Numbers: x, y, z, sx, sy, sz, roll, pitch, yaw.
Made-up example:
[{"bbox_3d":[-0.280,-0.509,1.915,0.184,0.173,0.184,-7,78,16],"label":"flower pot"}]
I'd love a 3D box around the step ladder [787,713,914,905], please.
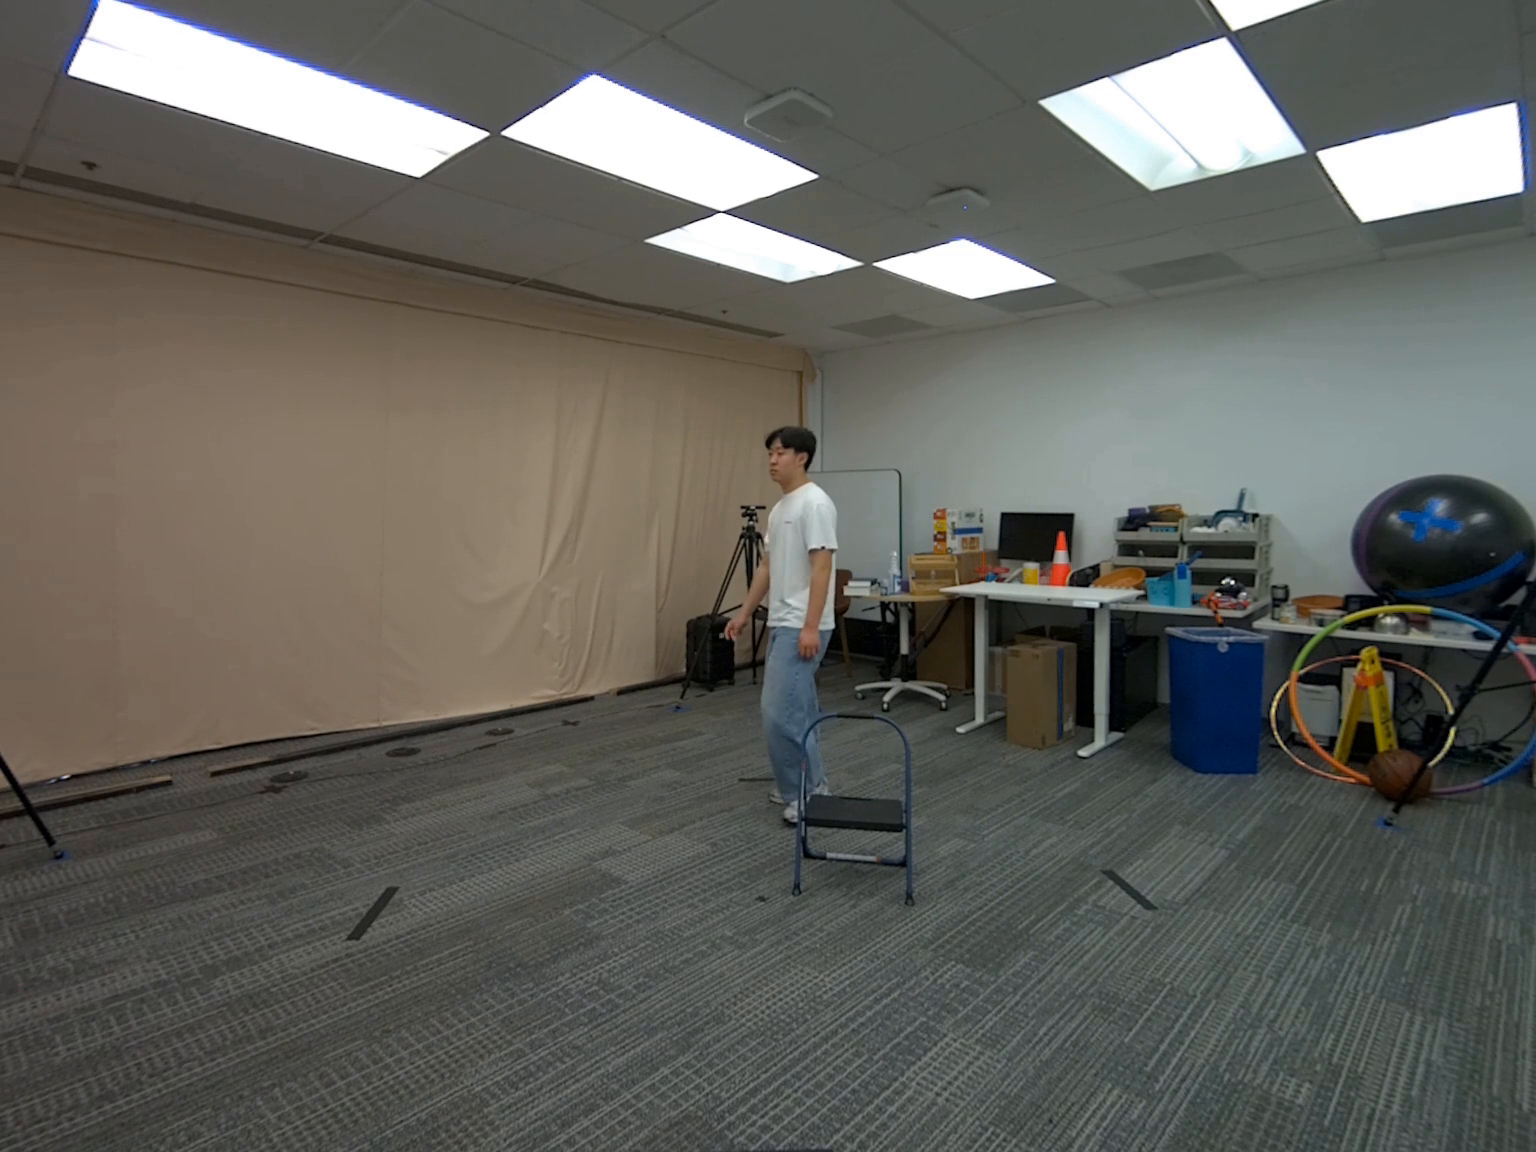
[{"bbox_3d":[0.331,0.829,3.123,0.436,0.605,0.346,1,3,10],"label":"step ladder"}]
